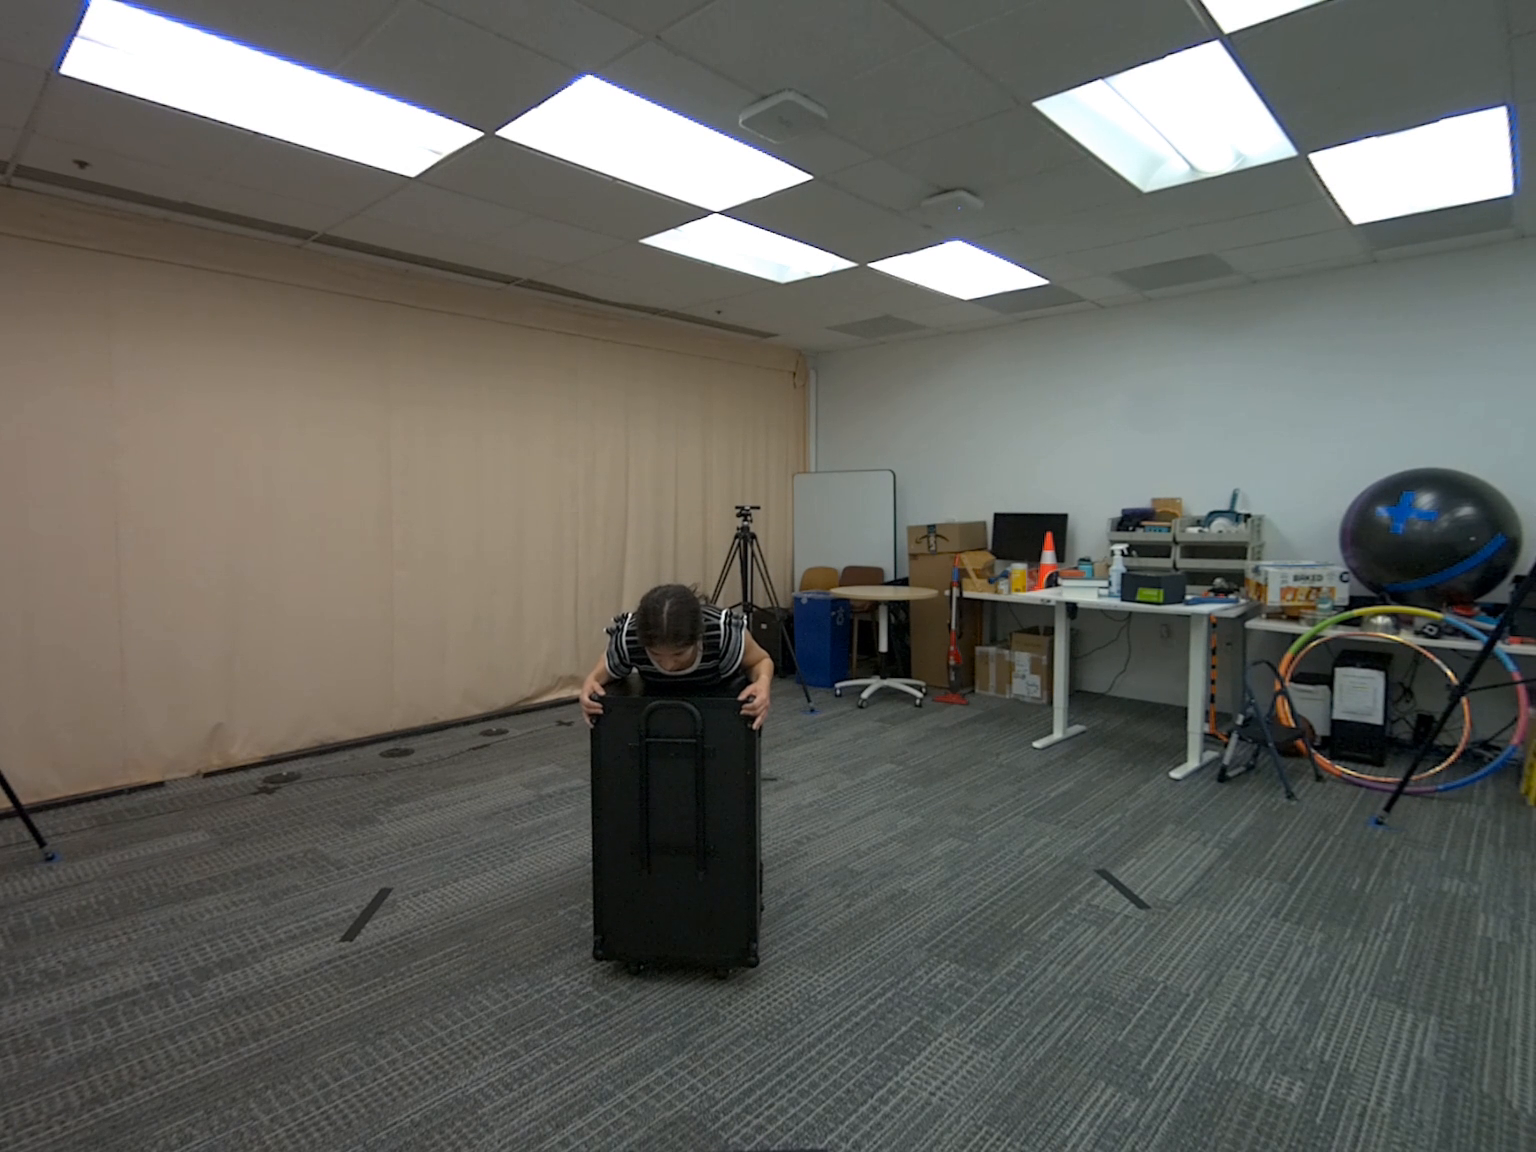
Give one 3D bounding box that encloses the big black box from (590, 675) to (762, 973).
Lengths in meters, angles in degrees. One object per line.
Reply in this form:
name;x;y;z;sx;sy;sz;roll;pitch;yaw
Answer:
big black box;-0.254;0.764;2.573;0.524;0.859;0.395;0;4;4
